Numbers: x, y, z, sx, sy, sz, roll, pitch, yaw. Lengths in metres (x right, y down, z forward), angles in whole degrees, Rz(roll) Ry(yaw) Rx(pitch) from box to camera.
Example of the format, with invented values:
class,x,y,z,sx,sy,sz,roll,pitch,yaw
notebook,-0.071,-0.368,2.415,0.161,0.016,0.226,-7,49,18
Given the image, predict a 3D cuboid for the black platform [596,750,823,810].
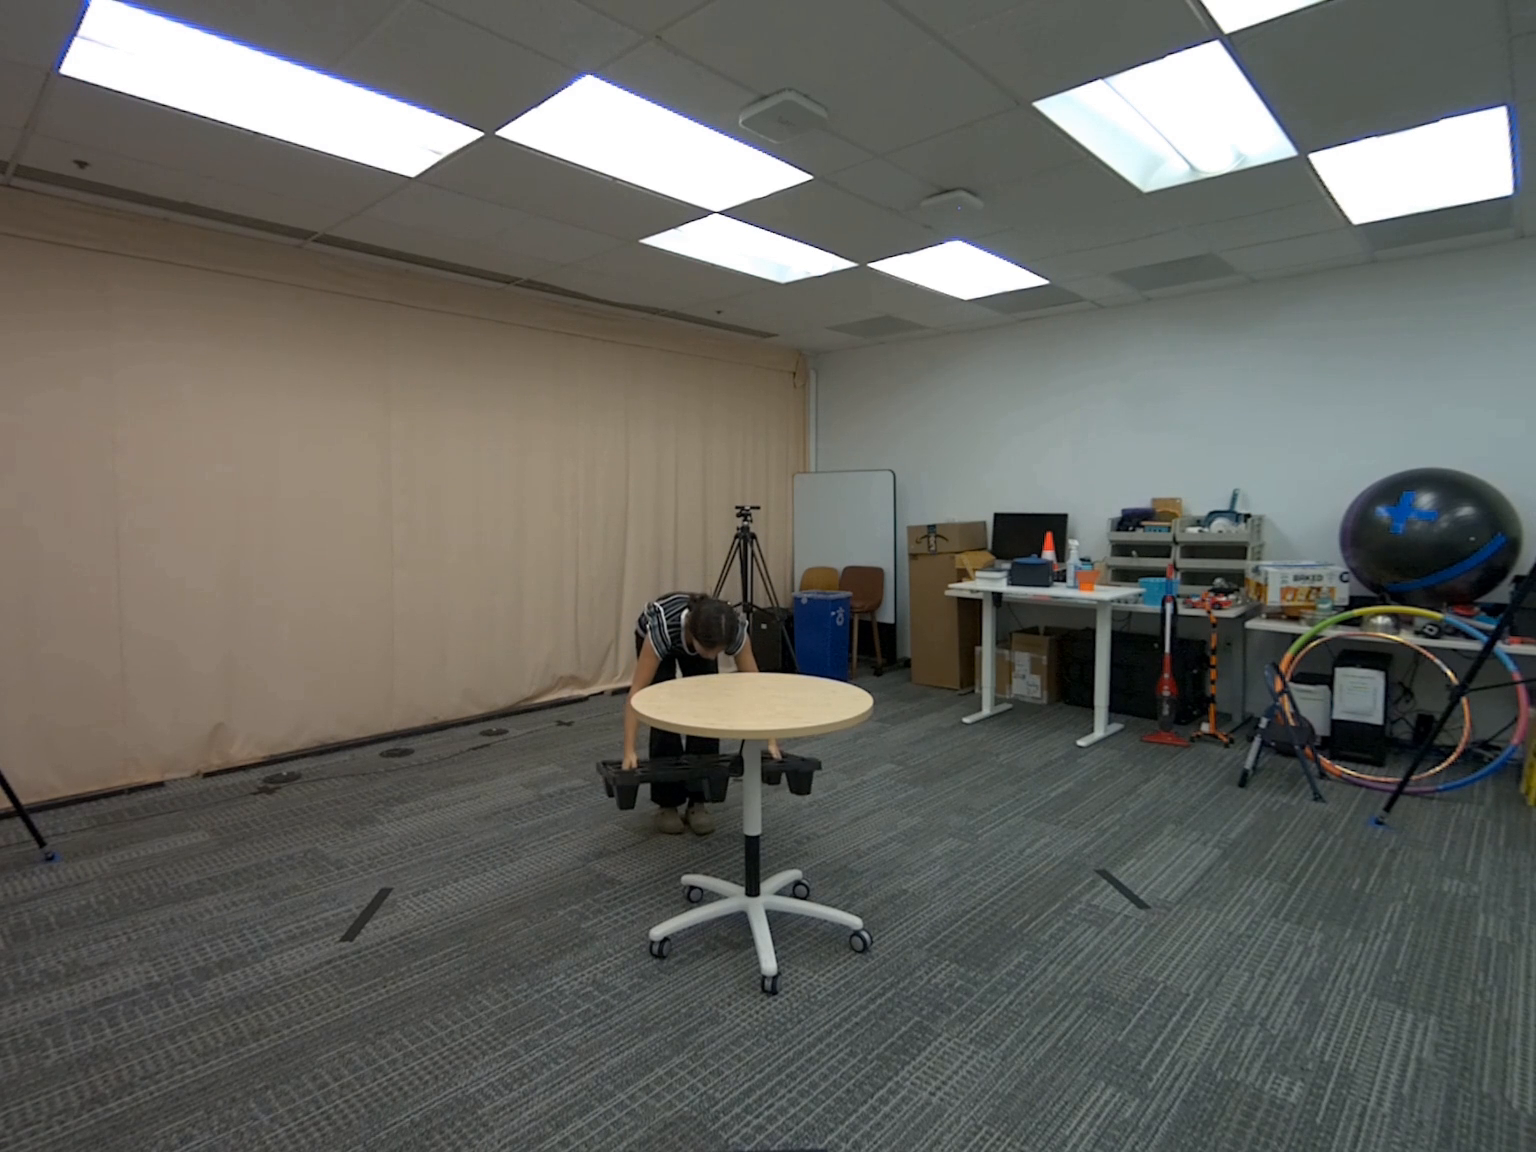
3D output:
class,x,y,z,sx,sy,sz,roll,pitch,yaw
black platform,-0.252,0.807,3.364,0.794,0.144,0.611,-1,-7,-15
